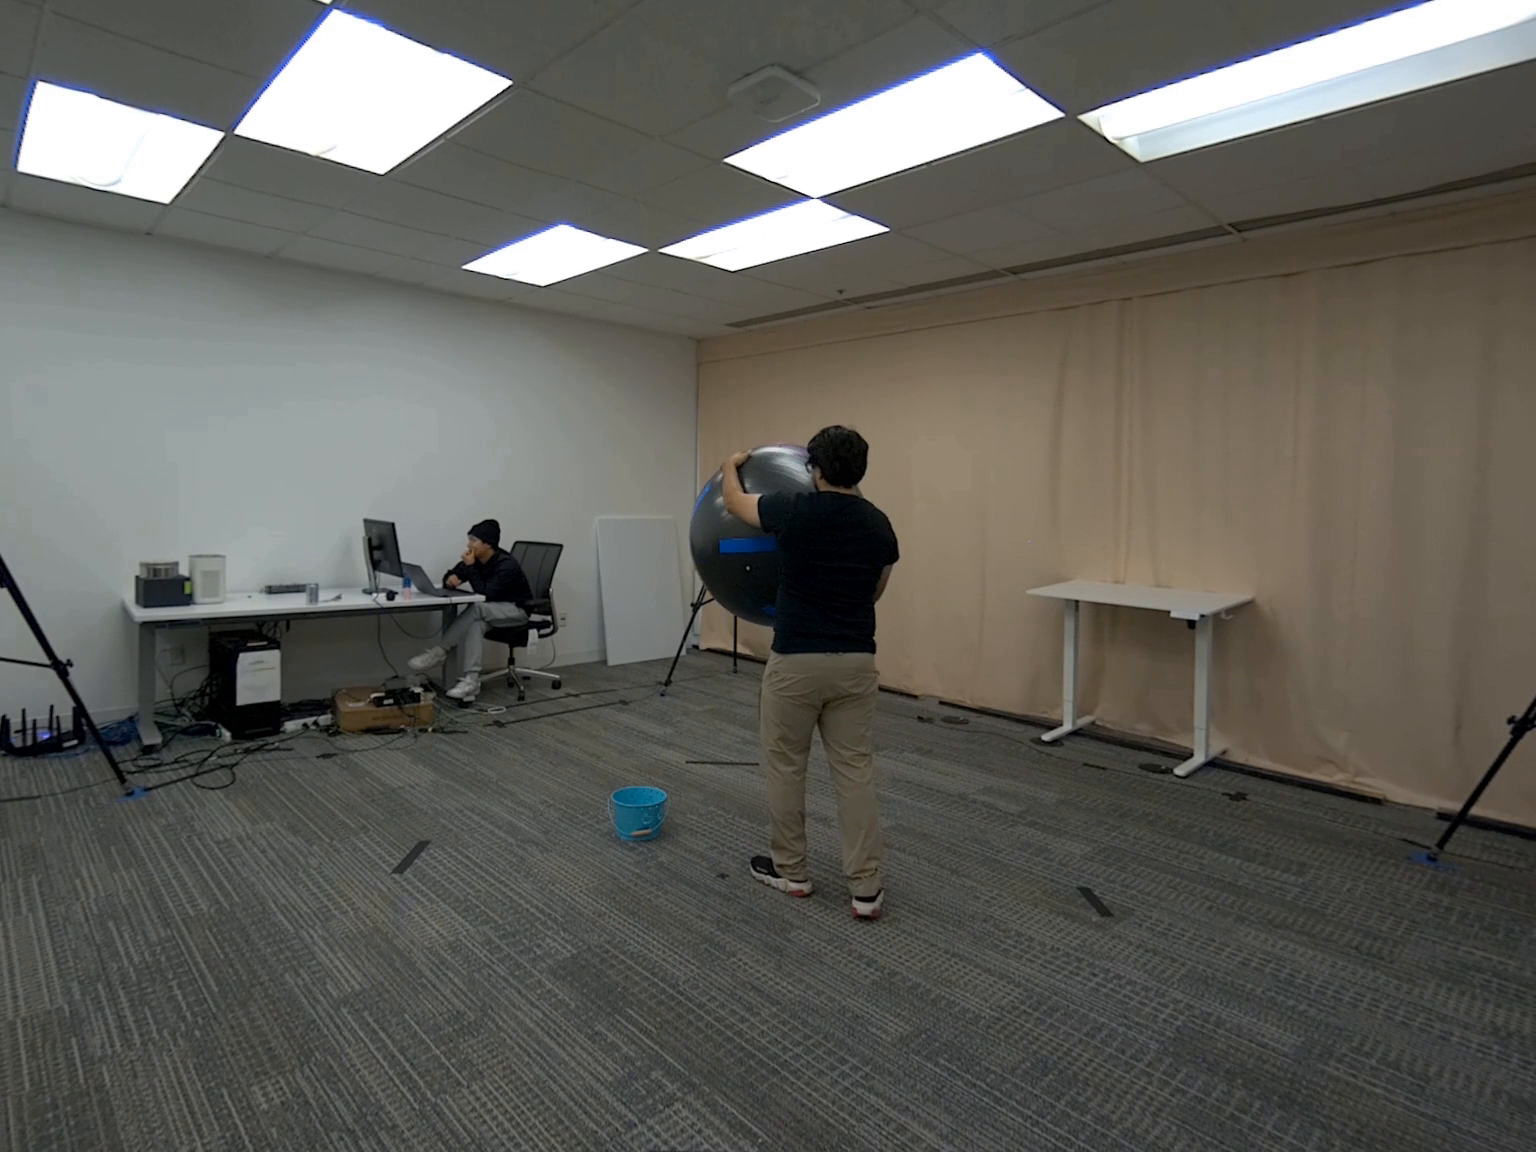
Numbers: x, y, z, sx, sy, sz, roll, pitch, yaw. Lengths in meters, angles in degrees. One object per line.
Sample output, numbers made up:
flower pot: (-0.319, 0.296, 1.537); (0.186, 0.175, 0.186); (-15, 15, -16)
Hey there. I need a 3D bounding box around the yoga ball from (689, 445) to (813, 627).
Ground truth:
yoga ball: (0.046, -0.168, 3.508); (0.757, 0.756, 0.761); (1, 4, -1)
